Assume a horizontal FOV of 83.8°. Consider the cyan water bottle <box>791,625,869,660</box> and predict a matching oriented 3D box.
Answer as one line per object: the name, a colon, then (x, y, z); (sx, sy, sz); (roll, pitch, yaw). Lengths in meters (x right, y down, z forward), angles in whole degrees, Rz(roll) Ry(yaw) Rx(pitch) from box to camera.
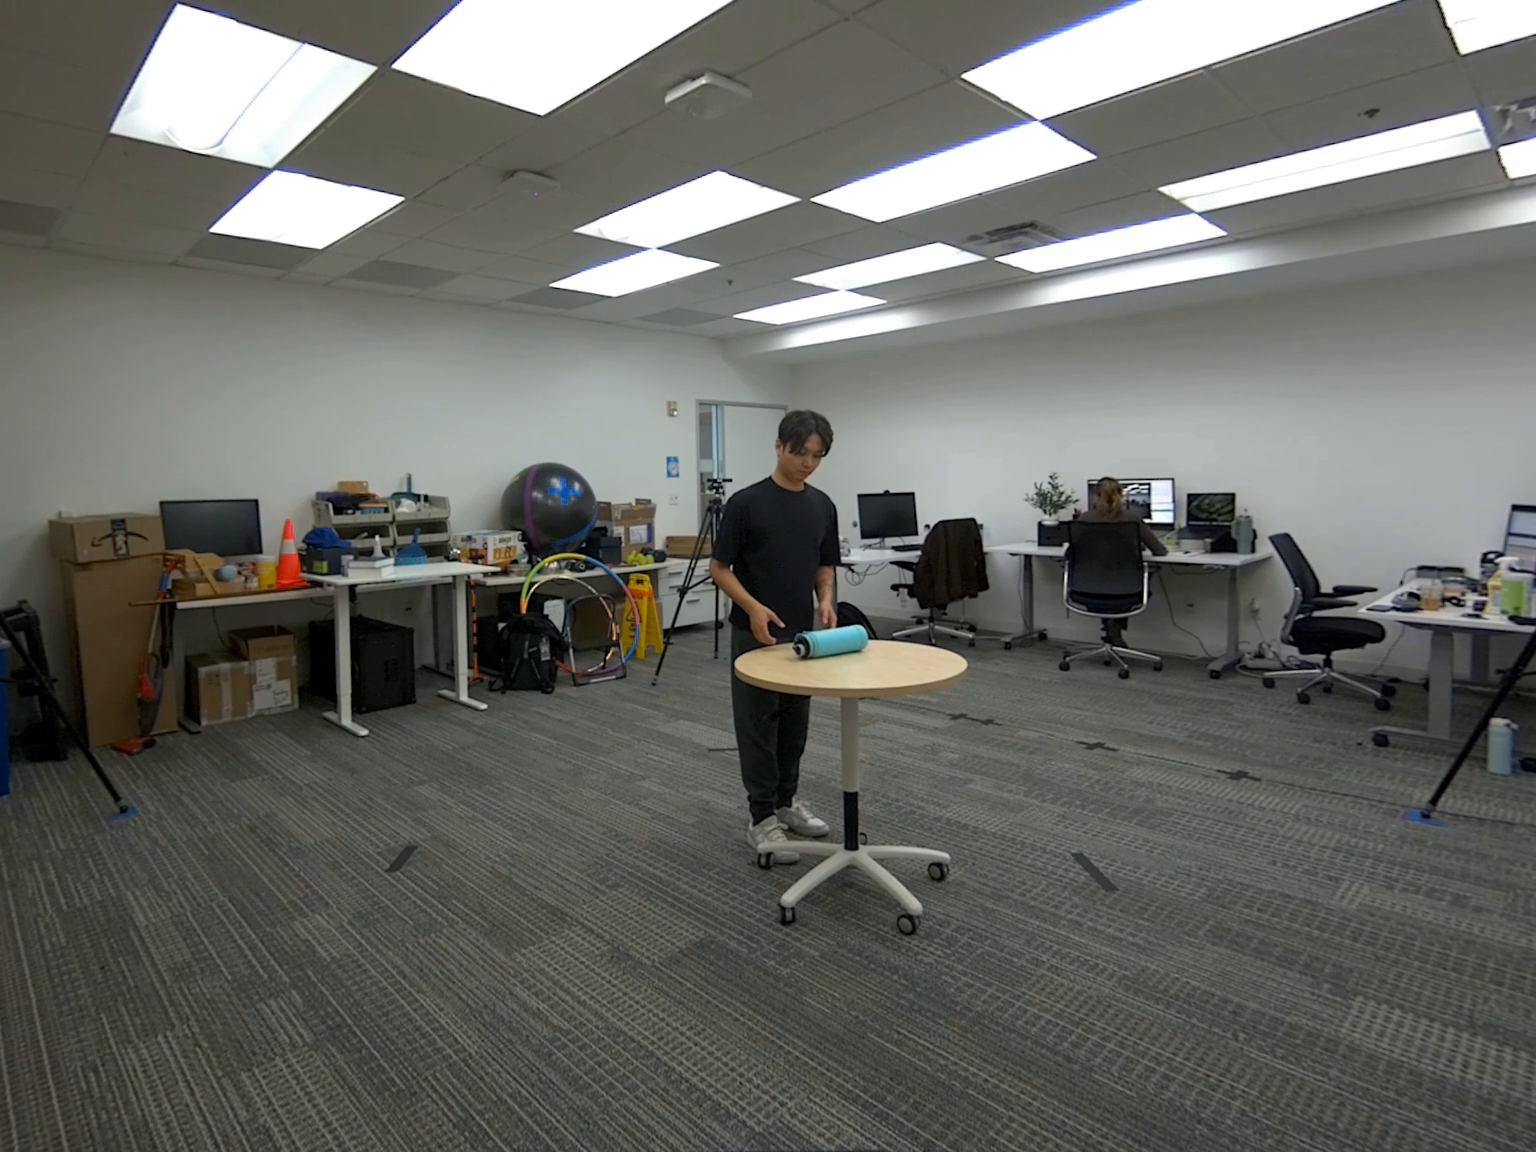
cyan water bottle: (0.207, 0.230, 2.964); (0.277, 0.092, 0.095); (-6, 6, -30)
